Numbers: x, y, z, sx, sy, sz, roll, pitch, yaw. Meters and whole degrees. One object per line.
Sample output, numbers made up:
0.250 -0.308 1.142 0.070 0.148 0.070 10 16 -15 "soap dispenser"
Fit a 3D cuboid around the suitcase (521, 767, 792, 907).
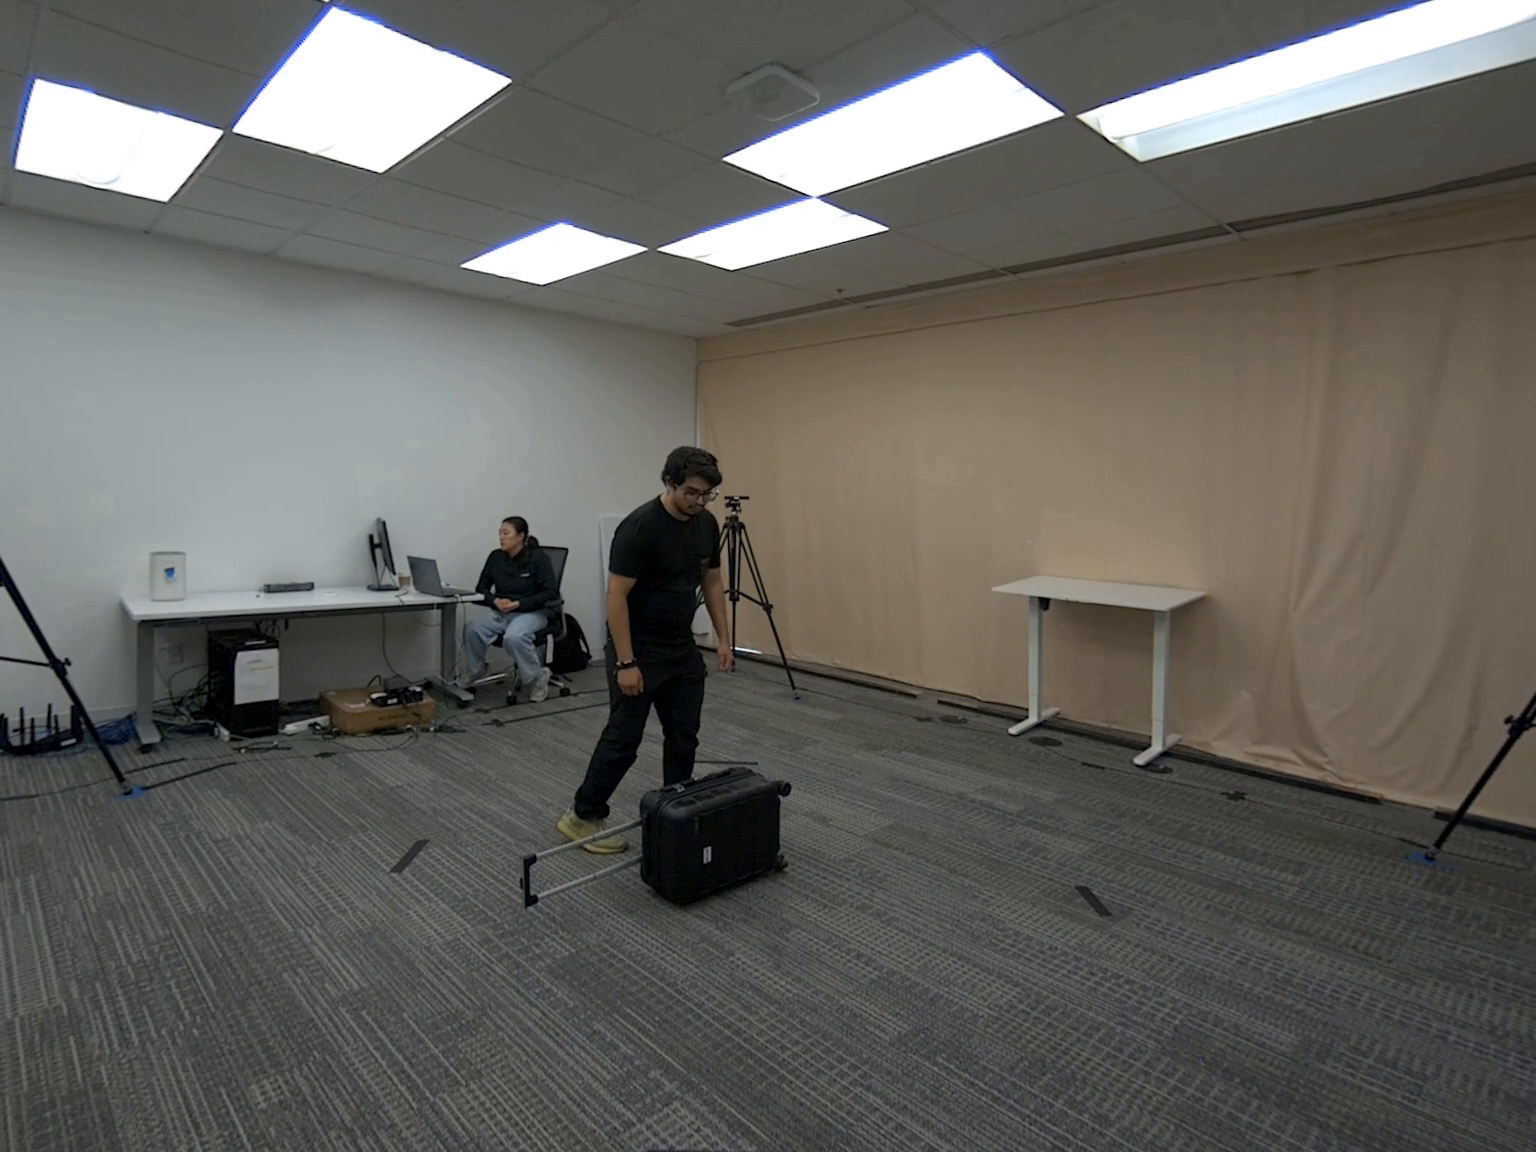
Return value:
-0.343 0.934 2.889 0.957 0.382 0.264 -5 8 -44 "suitcase"
